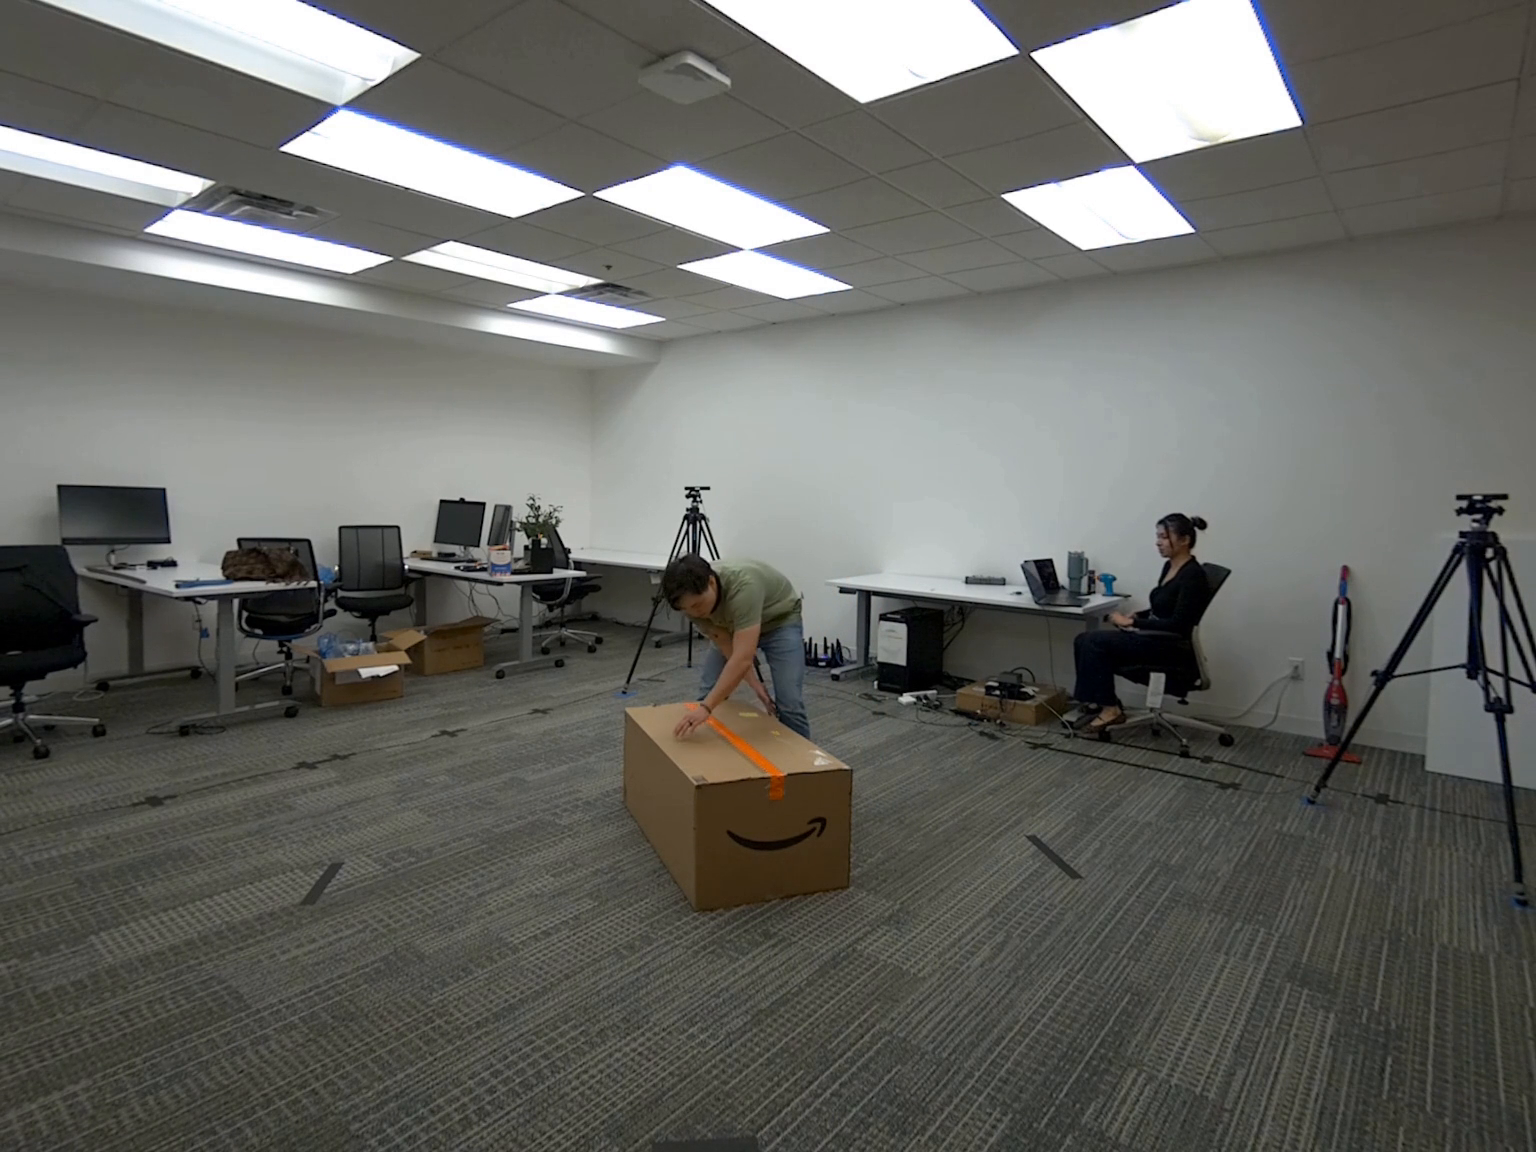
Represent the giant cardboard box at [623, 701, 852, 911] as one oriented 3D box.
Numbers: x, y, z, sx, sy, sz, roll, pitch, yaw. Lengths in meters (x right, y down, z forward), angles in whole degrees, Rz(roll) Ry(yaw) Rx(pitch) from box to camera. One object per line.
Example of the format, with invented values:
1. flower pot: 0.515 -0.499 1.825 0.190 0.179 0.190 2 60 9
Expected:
1. giant cardboard box: -0.183 0.823 3.334 0.565 0.425 1.051 0 5 -22
